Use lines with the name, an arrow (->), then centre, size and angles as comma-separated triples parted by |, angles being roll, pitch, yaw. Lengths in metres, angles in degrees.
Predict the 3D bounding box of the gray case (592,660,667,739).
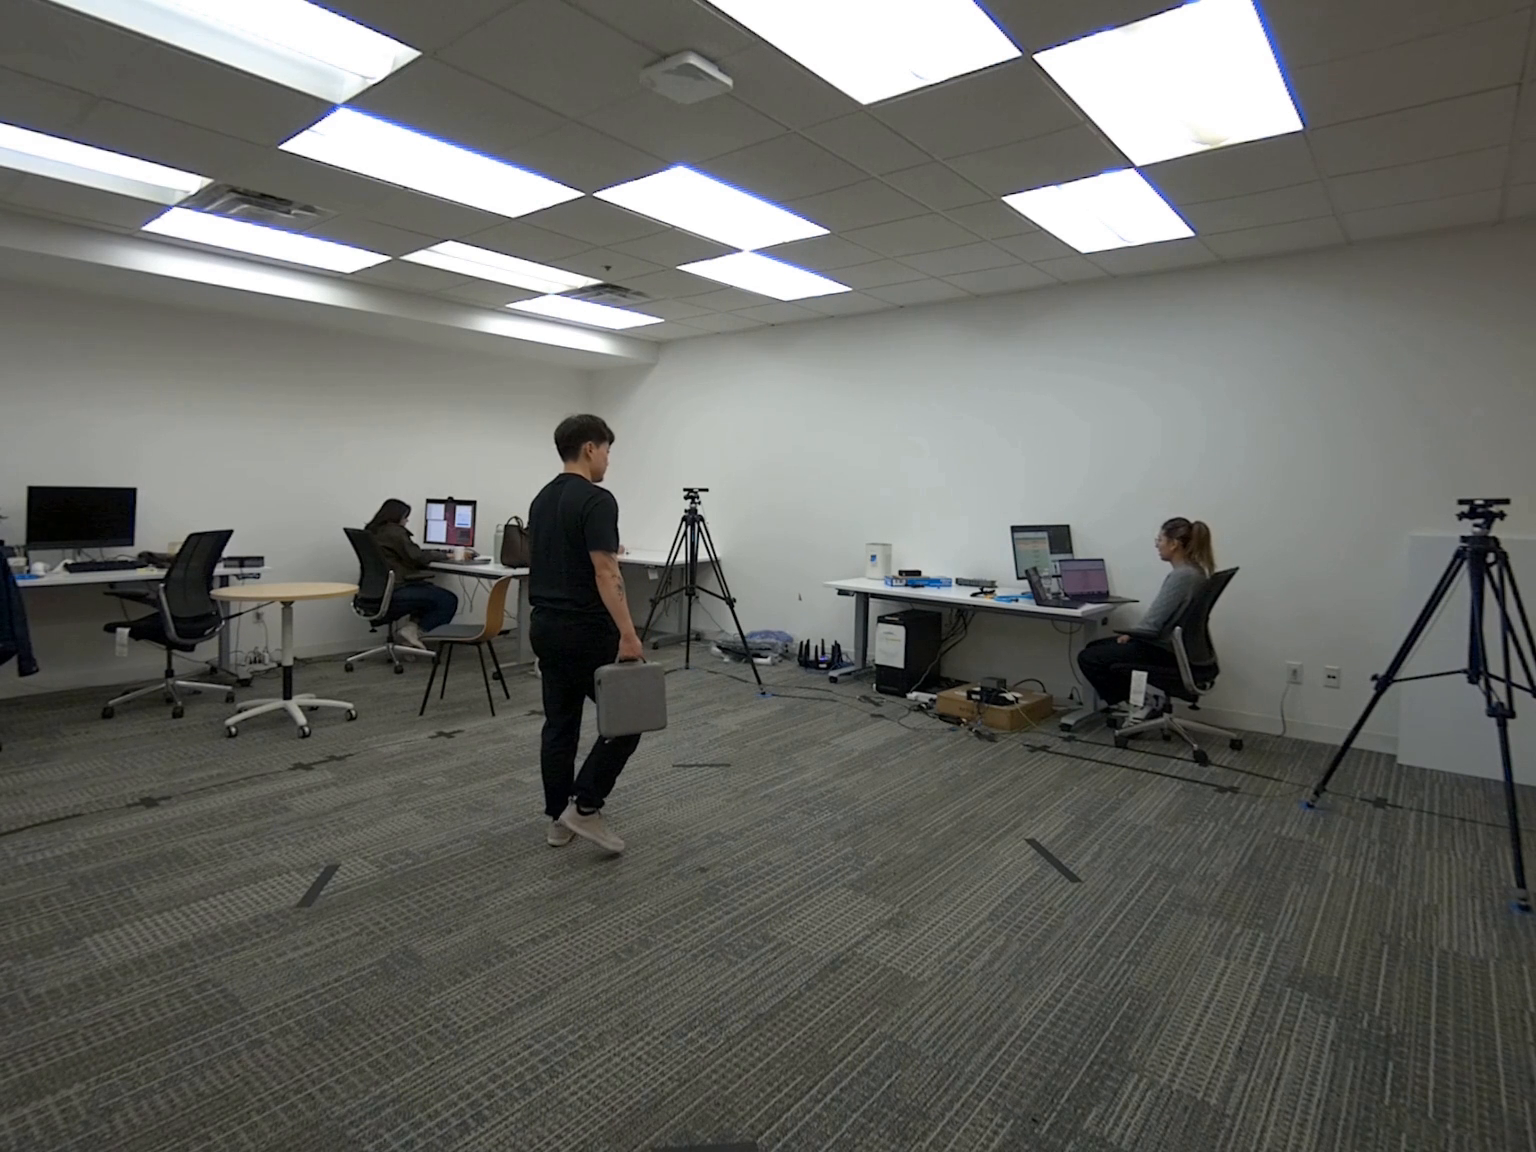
gray case -> -0.514, 0.441, 3.126 | 0.251, 0.261, 0.106 | -2, -3, -26
